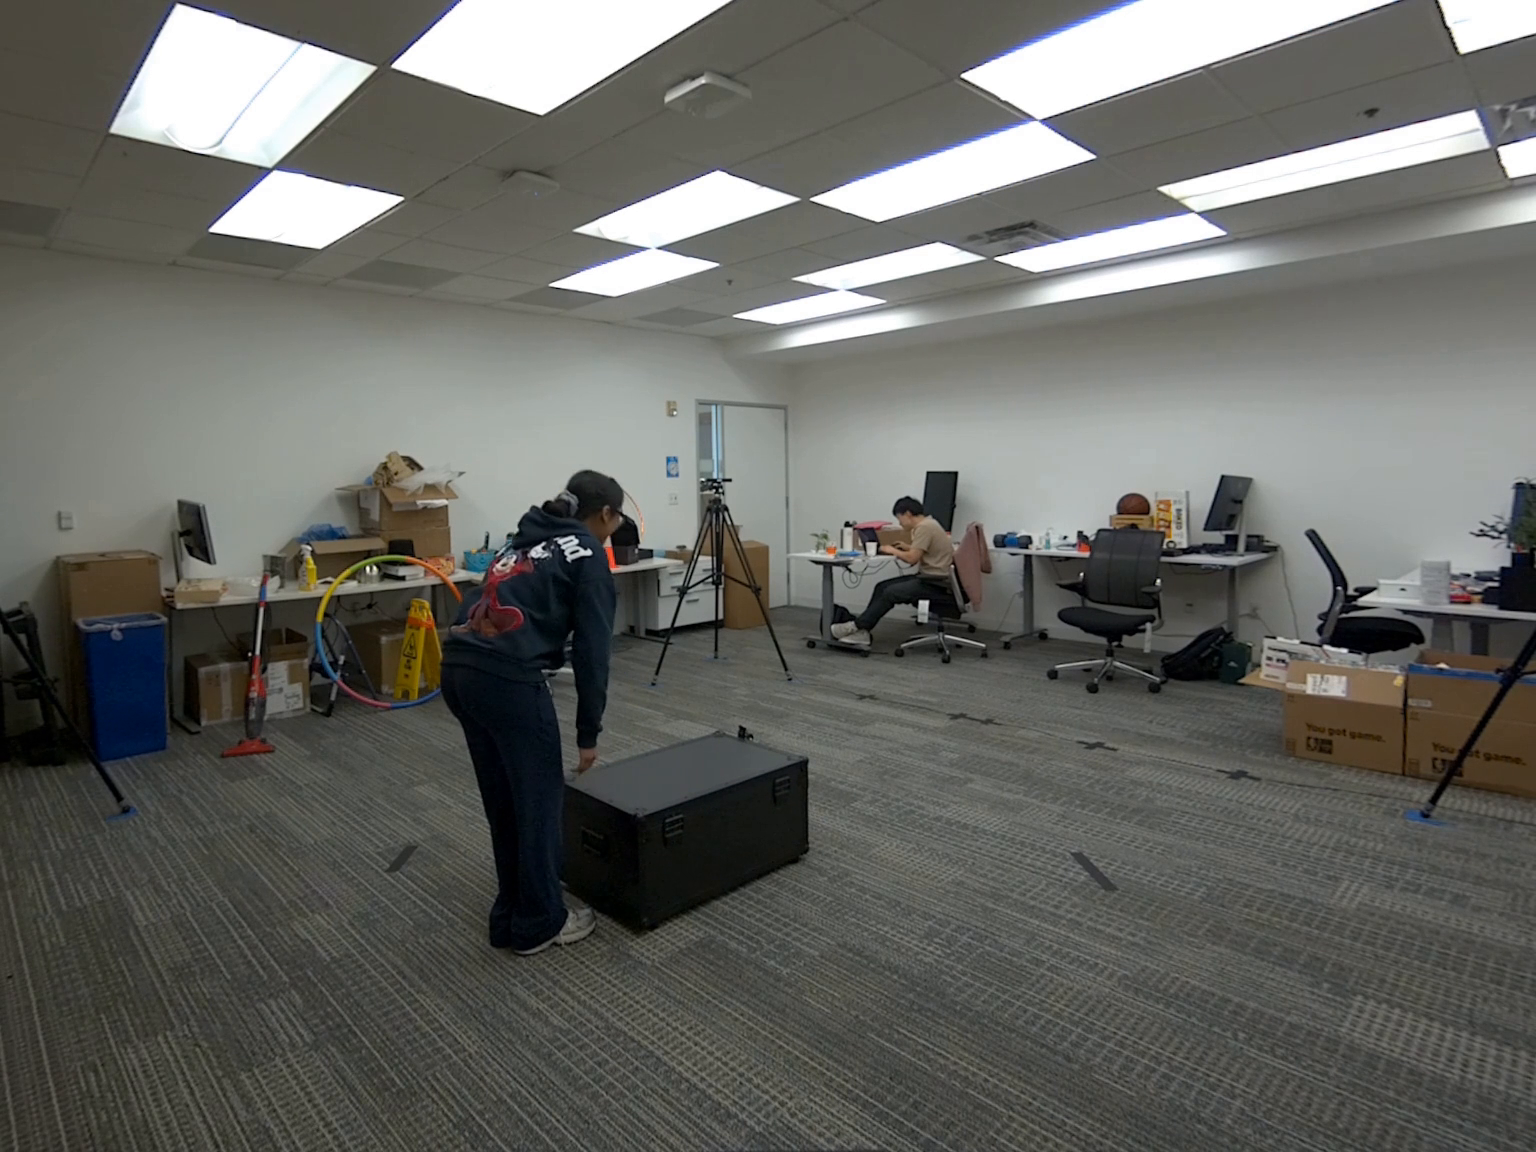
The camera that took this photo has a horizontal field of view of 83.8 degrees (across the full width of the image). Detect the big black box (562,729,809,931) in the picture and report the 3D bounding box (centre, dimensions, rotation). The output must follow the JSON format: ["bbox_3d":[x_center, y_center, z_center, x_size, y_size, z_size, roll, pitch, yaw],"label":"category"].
[{"bbox_3d":[-0.265,0.863,3.057,0.839,0.394,0.538,-8,9,-44],"label":"big black box"}]
